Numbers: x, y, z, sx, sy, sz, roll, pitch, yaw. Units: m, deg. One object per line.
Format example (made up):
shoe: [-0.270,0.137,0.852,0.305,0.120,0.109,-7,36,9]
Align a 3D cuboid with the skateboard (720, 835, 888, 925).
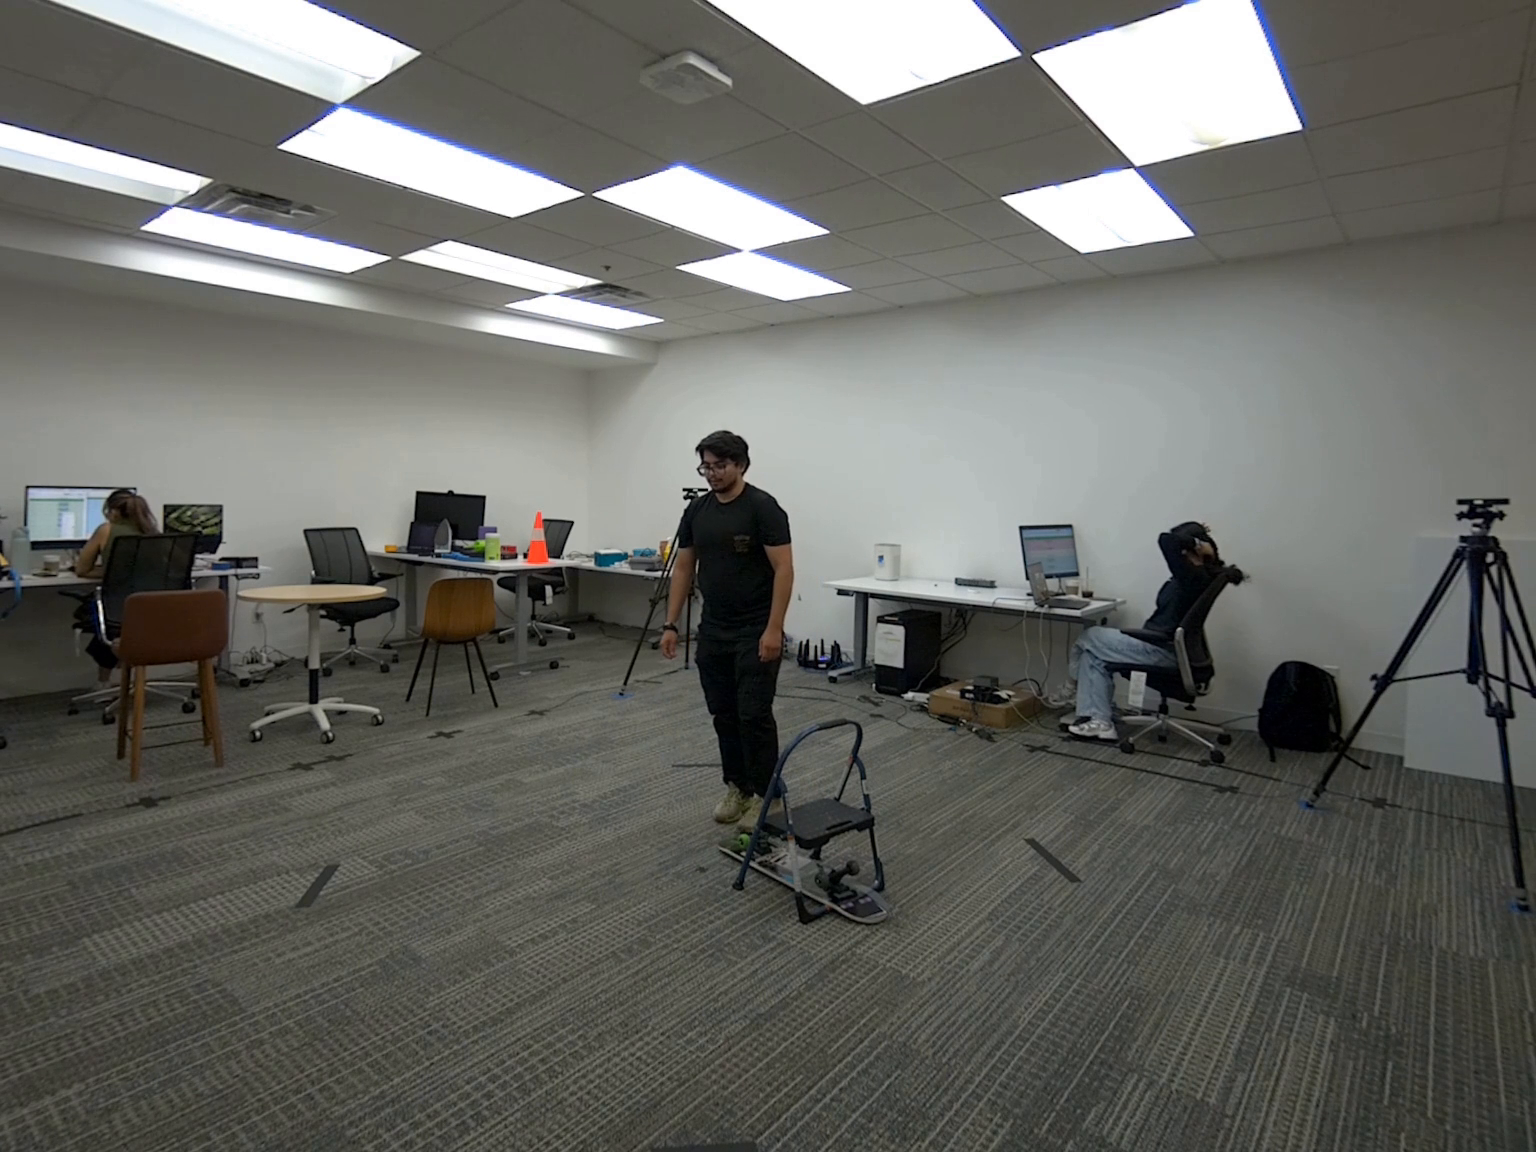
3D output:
skateboard: [0.102,1.031,3.064,0.188,0.110,0.812,-4,7,-42]
